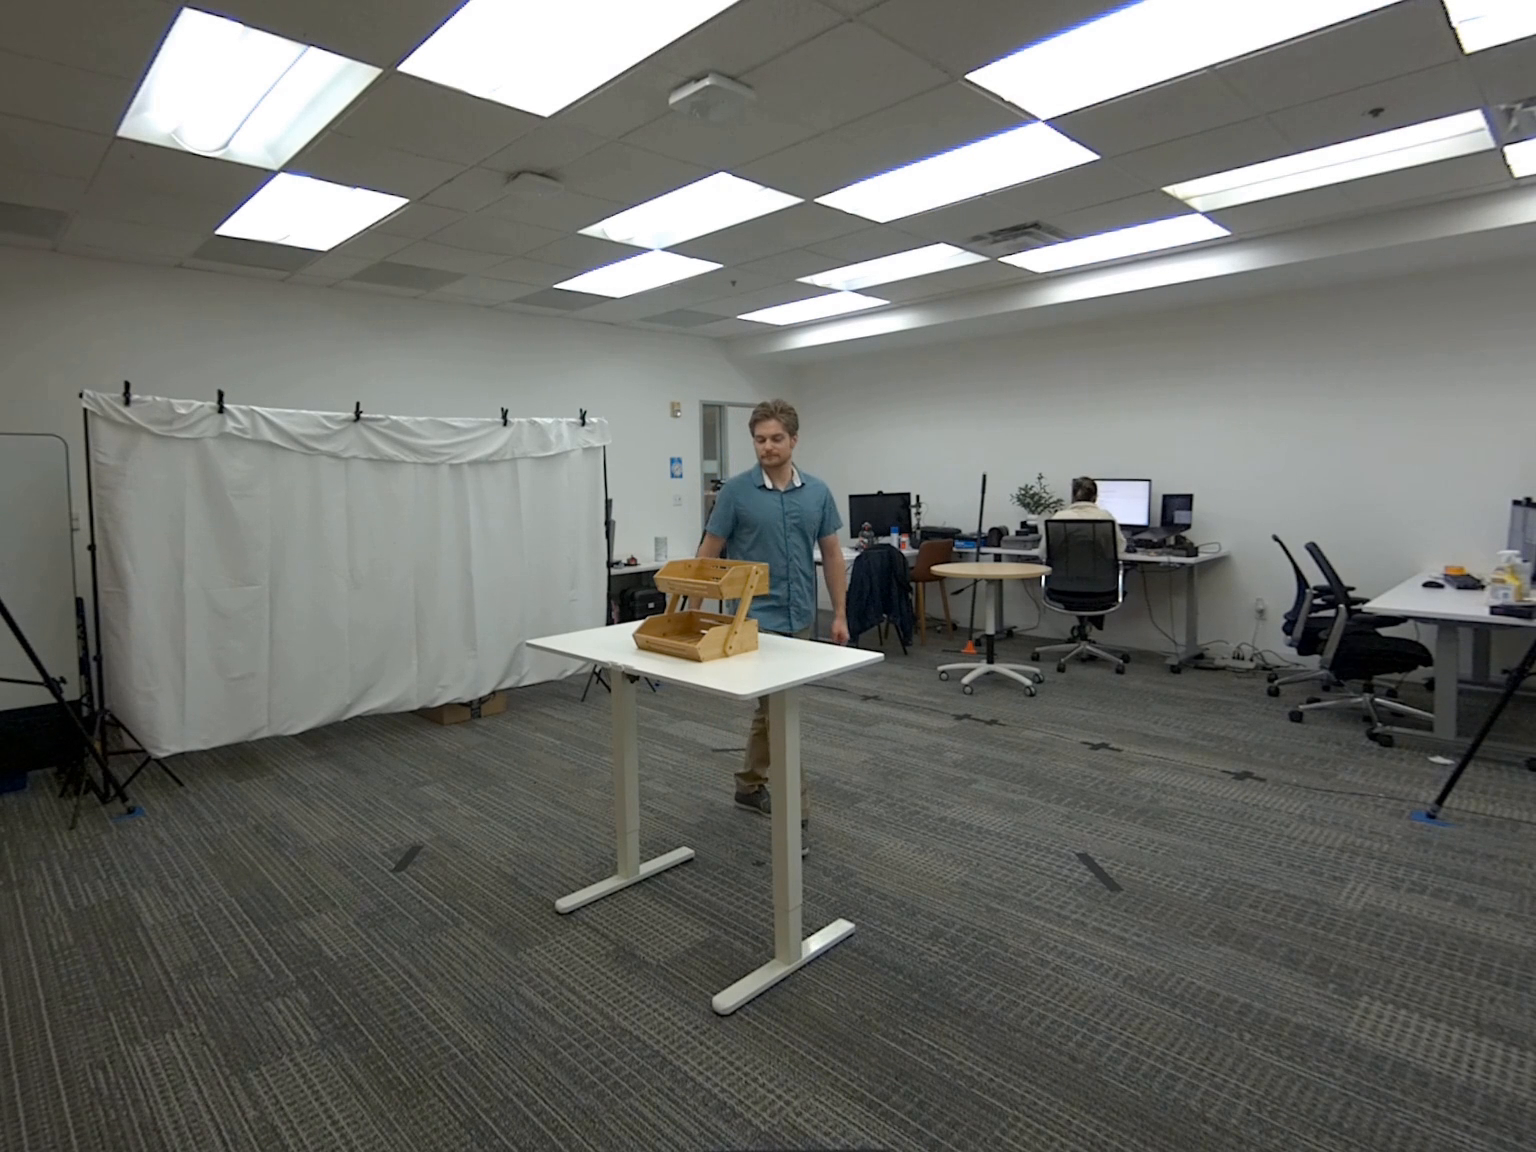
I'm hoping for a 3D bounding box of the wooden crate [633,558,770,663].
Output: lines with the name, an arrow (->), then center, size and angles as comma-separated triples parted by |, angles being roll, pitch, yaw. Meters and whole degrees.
wooden crate -> -0.213, 0.093, 2.623 | 0.294, 0.272, 0.334 | -6, 8, -44
